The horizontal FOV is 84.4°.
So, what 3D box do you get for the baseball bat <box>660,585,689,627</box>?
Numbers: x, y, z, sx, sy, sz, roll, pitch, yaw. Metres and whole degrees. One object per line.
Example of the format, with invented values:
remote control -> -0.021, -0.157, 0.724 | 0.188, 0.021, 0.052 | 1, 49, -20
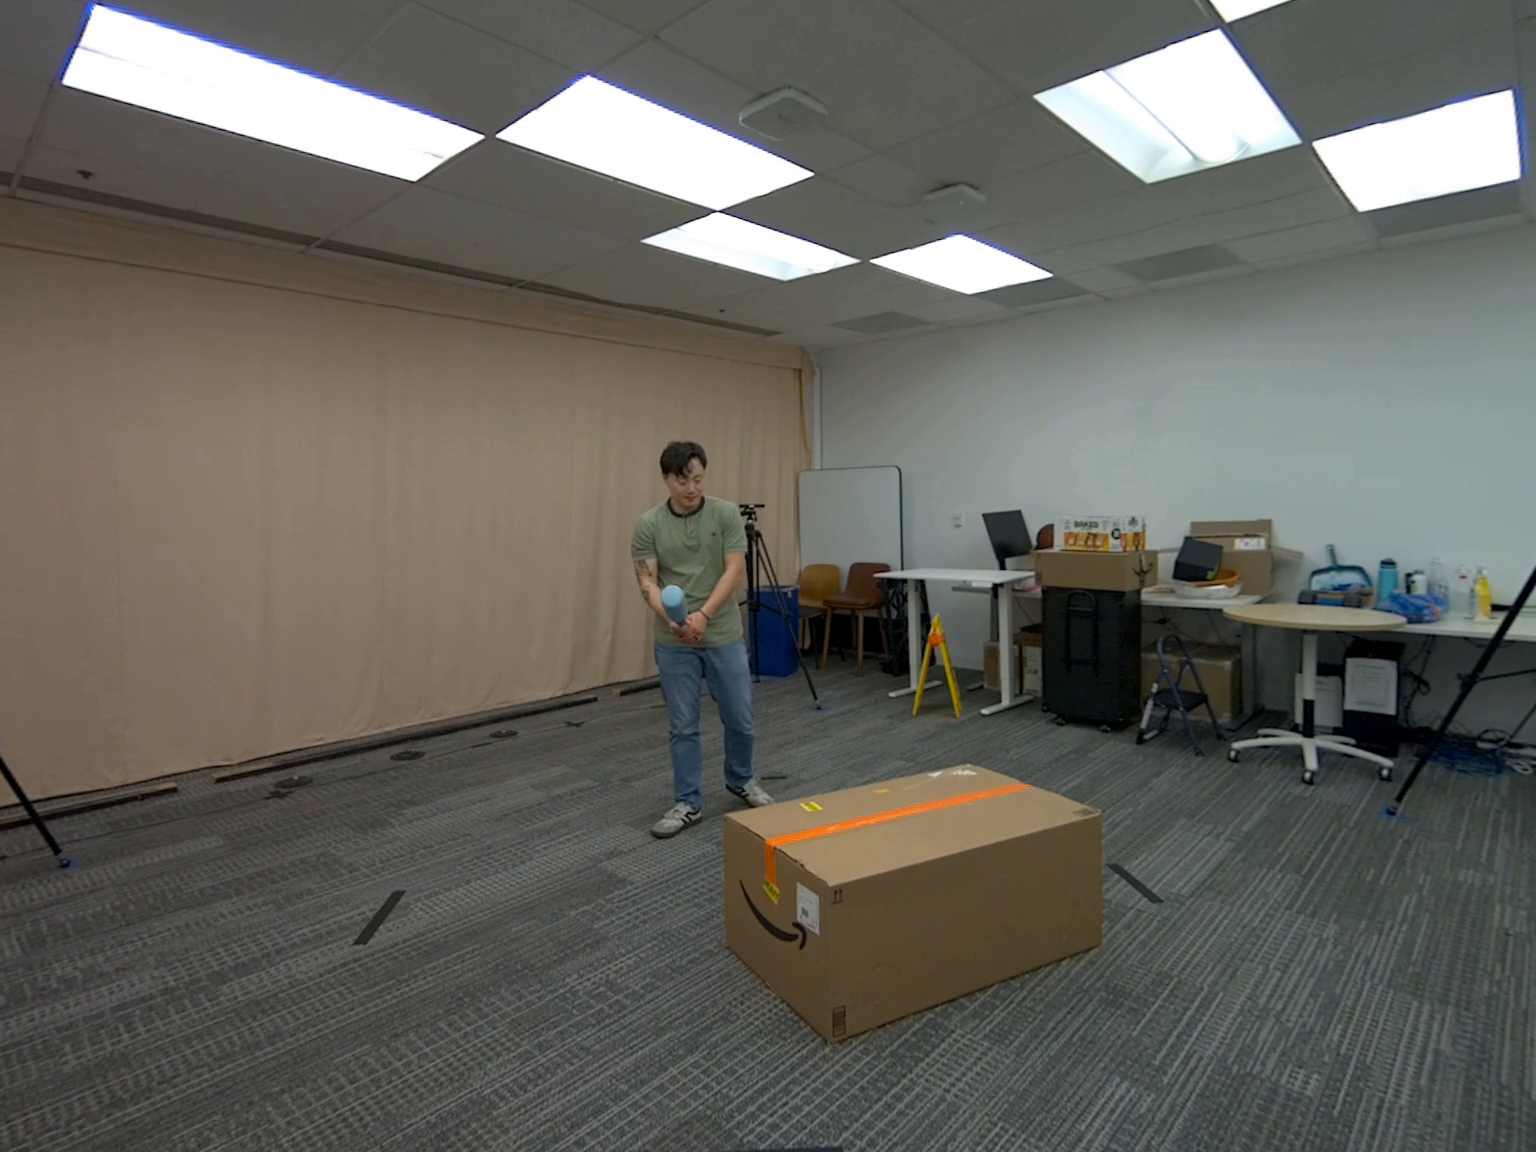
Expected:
baseball bat -> -0.355, 0.164, 3.243 | 0.089, 0.090, 0.535 | 0, -19, 1
